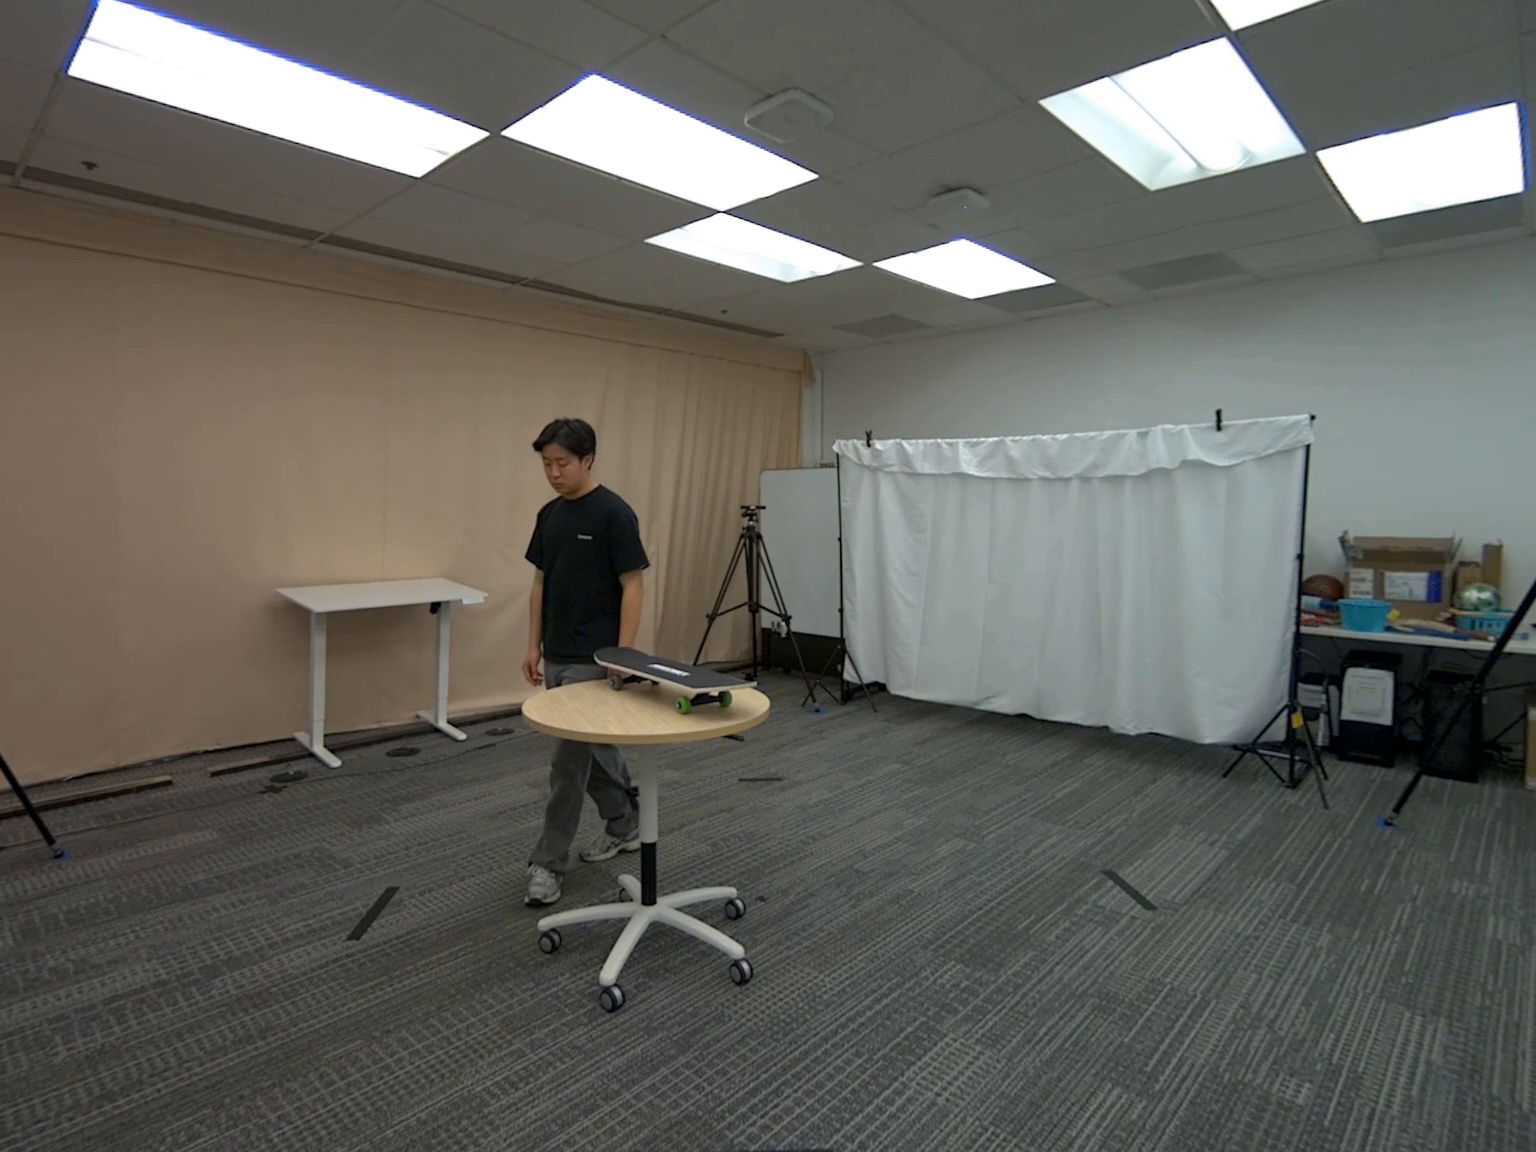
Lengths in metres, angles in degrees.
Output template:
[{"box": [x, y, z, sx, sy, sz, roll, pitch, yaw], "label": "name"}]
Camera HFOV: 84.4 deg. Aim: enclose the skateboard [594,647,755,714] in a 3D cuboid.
[{"box": [-0.311, 0.337, 2.686, 0.187, 0.110, 0.811, -2, 4, -39], "label": "skateboard"}]
